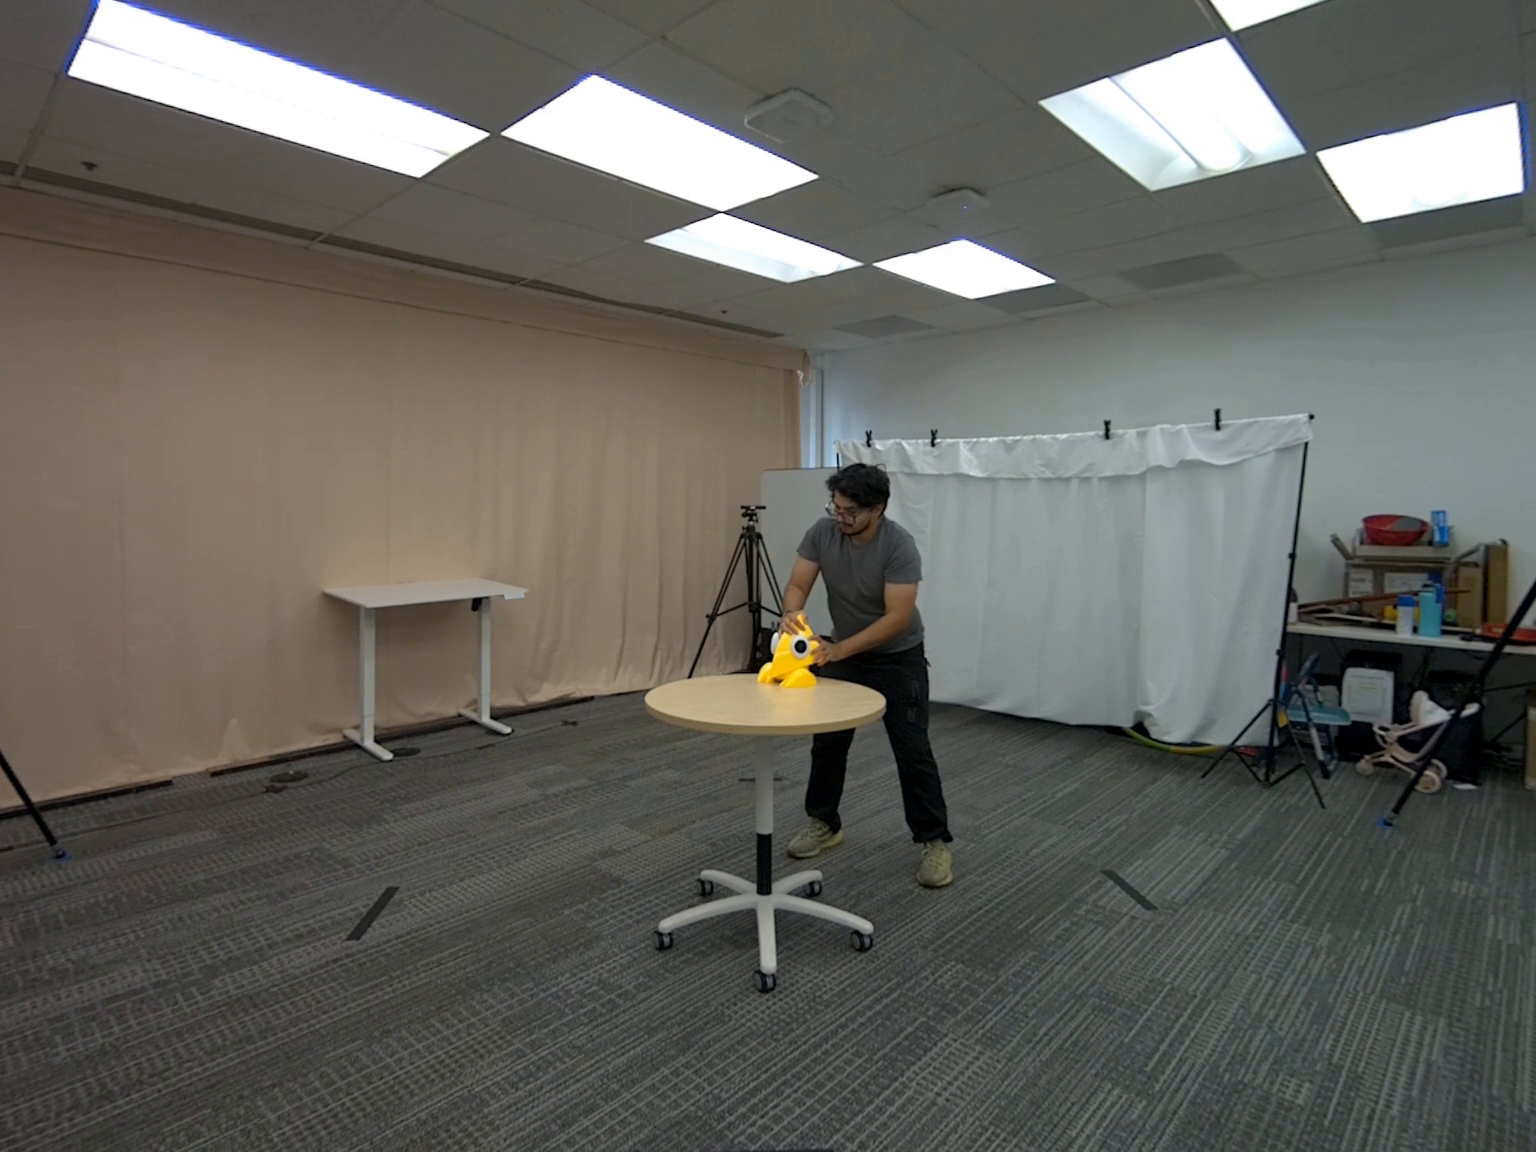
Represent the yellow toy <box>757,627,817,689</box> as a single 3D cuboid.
[{"bbox_3d":[0.075,0.257,2.939,0.187,0.230,0.211,-3,4,-45],"label":"yellow toy"}]
